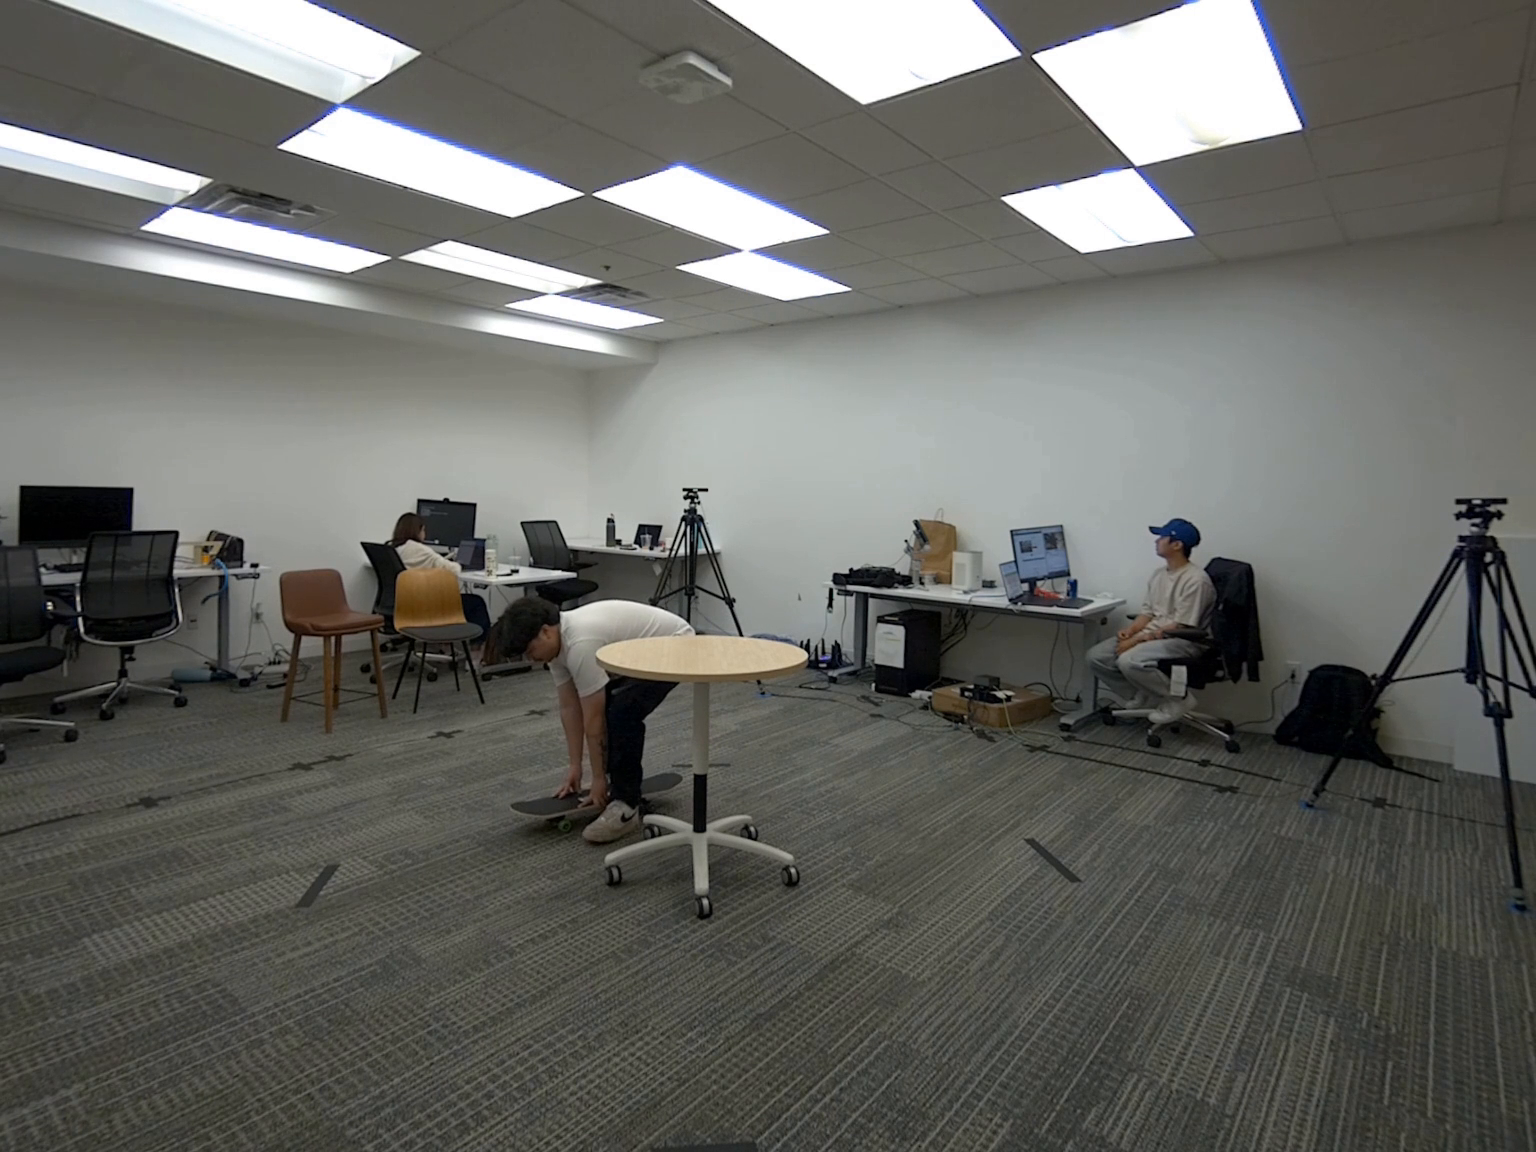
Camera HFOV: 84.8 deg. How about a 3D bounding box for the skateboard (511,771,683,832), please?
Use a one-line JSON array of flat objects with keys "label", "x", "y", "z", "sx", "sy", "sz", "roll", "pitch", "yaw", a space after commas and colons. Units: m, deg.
[{"label": "skateboard", "x": -0.726, "y": 0.964, "z": 3.604, "sx": 0.764, "sy": 0.110, "sz": 0.200, "roll": -3, "pitch": 7, "yaw": -33}]
